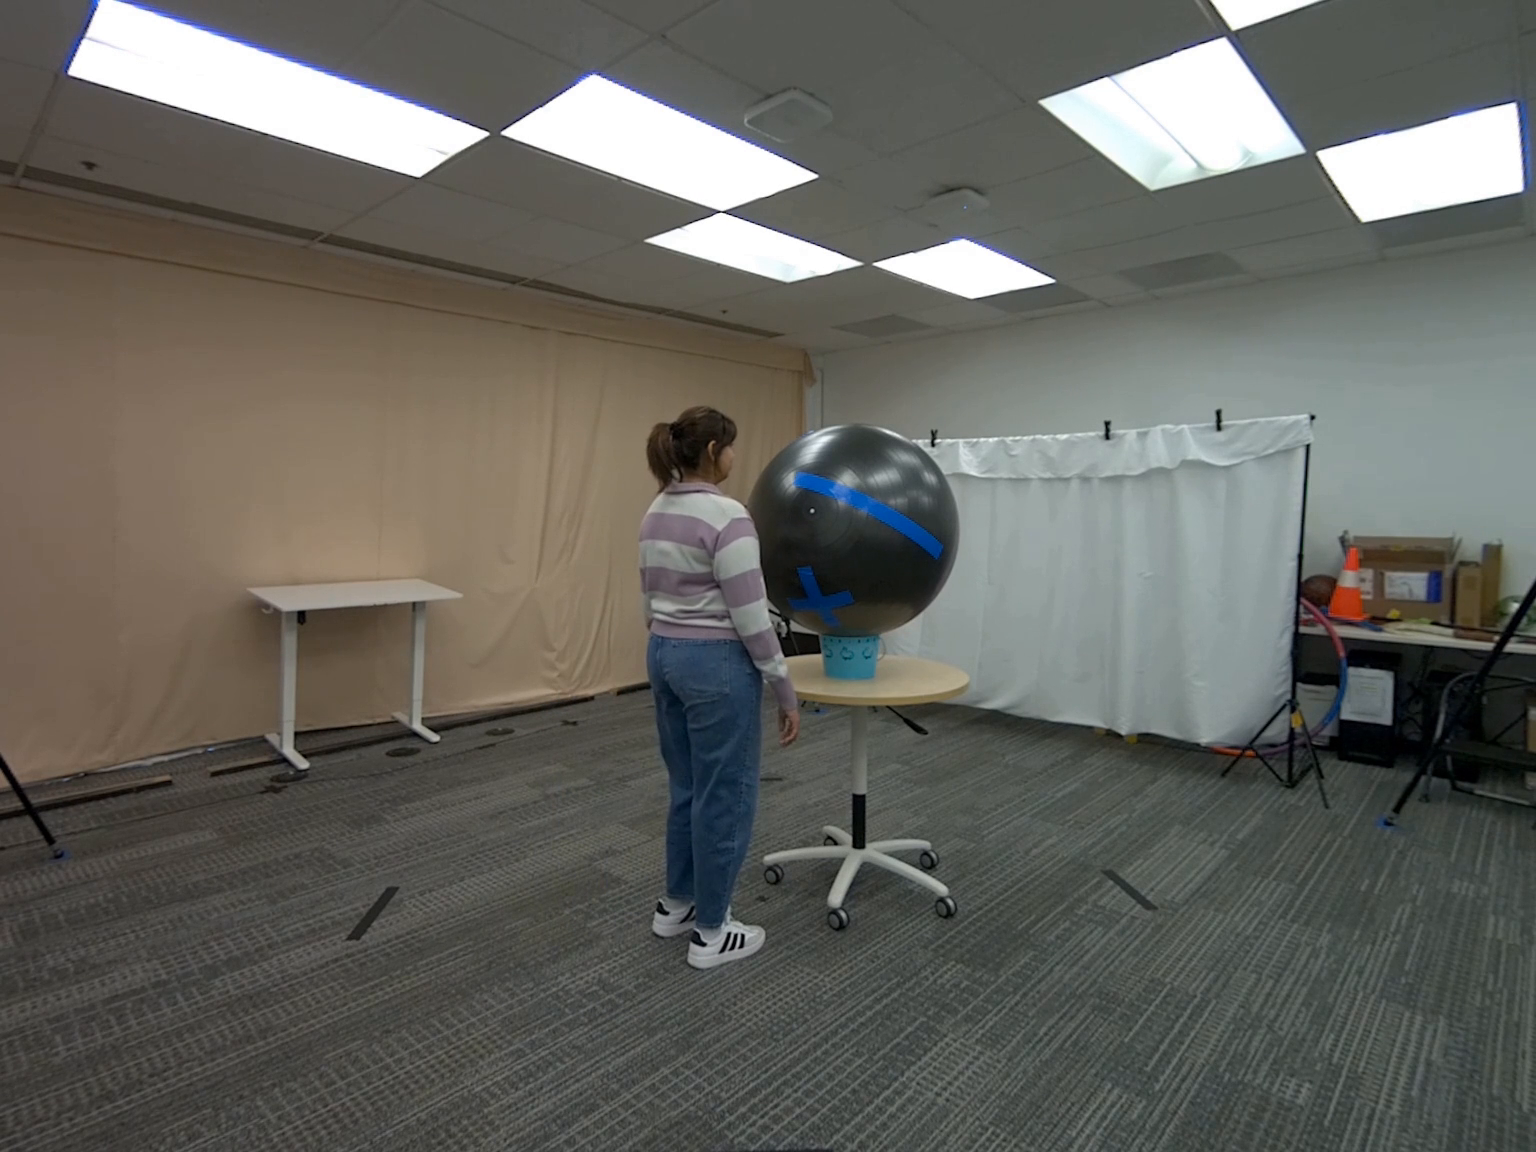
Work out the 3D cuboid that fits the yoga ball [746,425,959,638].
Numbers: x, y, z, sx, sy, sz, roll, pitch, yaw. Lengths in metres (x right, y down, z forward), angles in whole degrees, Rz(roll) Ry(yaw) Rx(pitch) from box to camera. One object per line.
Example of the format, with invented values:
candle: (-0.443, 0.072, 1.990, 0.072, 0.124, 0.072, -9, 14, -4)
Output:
yoga ball: (0.299, -0.155, 3.014, 0.757, 0.756, 0.760, 0, 4, -2)
